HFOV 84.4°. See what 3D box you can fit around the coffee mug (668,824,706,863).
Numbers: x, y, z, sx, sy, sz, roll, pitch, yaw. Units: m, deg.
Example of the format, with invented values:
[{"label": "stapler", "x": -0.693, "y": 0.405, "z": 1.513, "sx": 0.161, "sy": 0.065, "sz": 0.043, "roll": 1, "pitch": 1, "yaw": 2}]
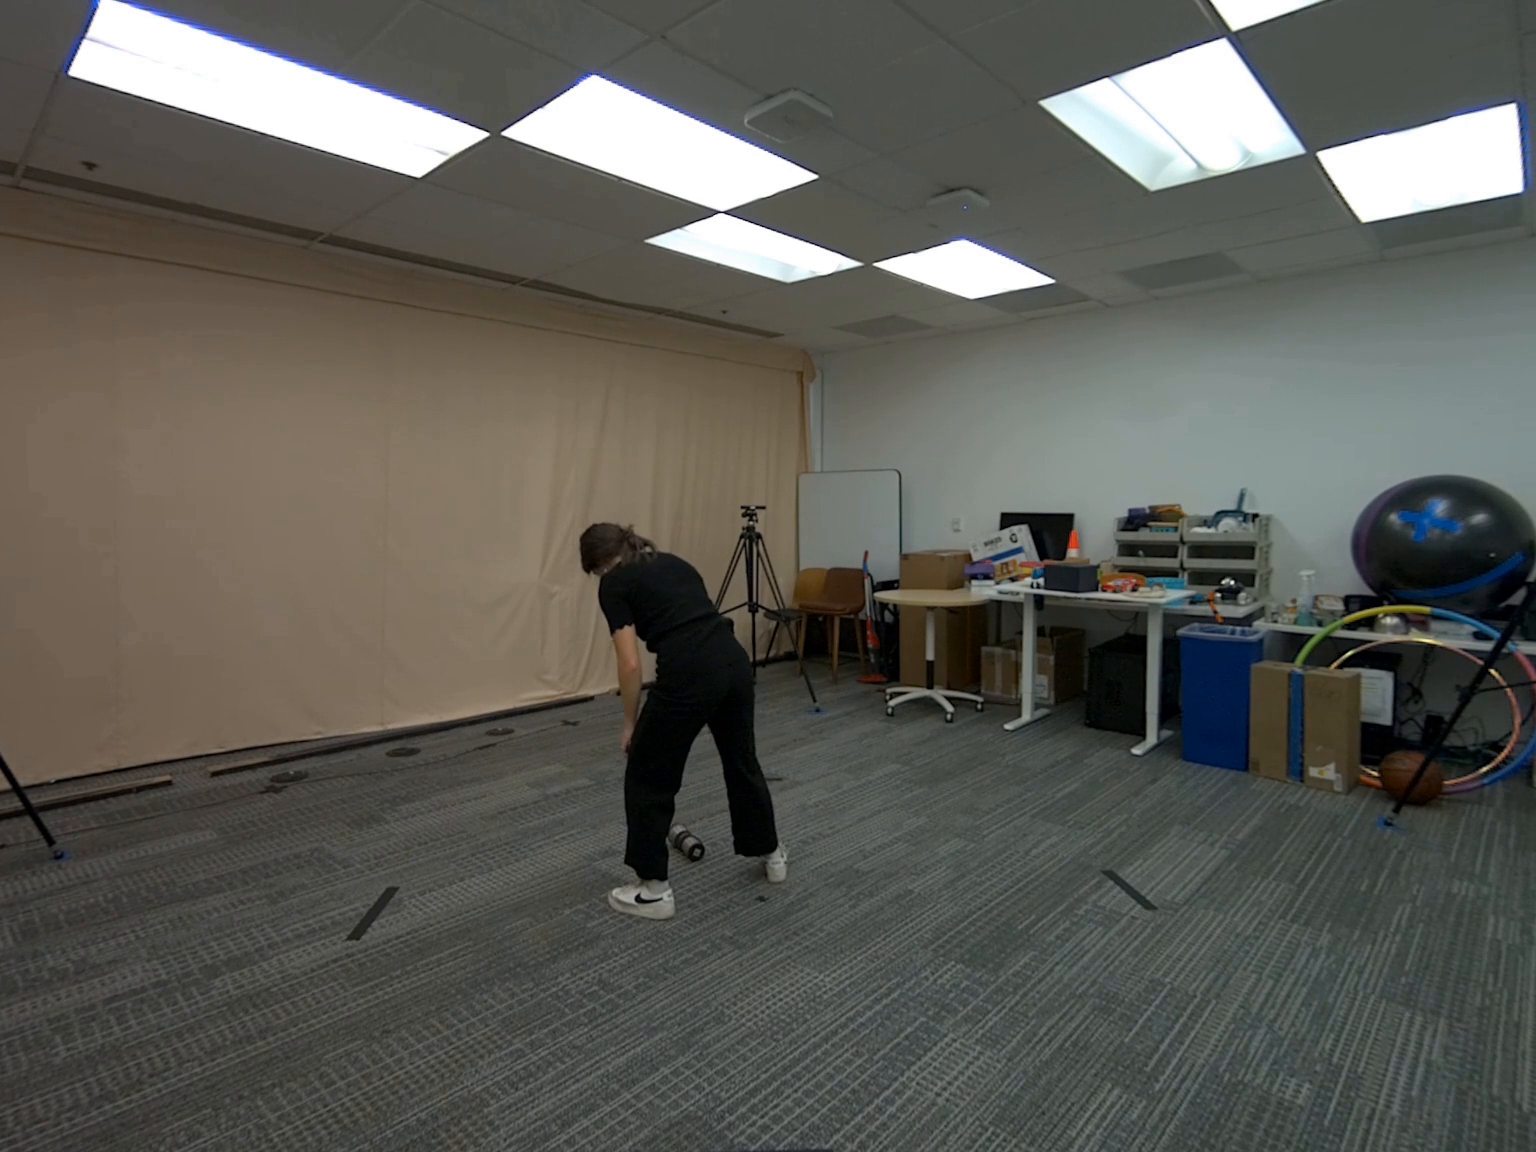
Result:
[{"label": "coffee mug", "x": -0.308, "y": 1.065, "z": 3.392, "sx": 0.119, "sy": 0.087, "sz": 0.209, "roll": -14, "pitch": 11, "yaw": -31}]
